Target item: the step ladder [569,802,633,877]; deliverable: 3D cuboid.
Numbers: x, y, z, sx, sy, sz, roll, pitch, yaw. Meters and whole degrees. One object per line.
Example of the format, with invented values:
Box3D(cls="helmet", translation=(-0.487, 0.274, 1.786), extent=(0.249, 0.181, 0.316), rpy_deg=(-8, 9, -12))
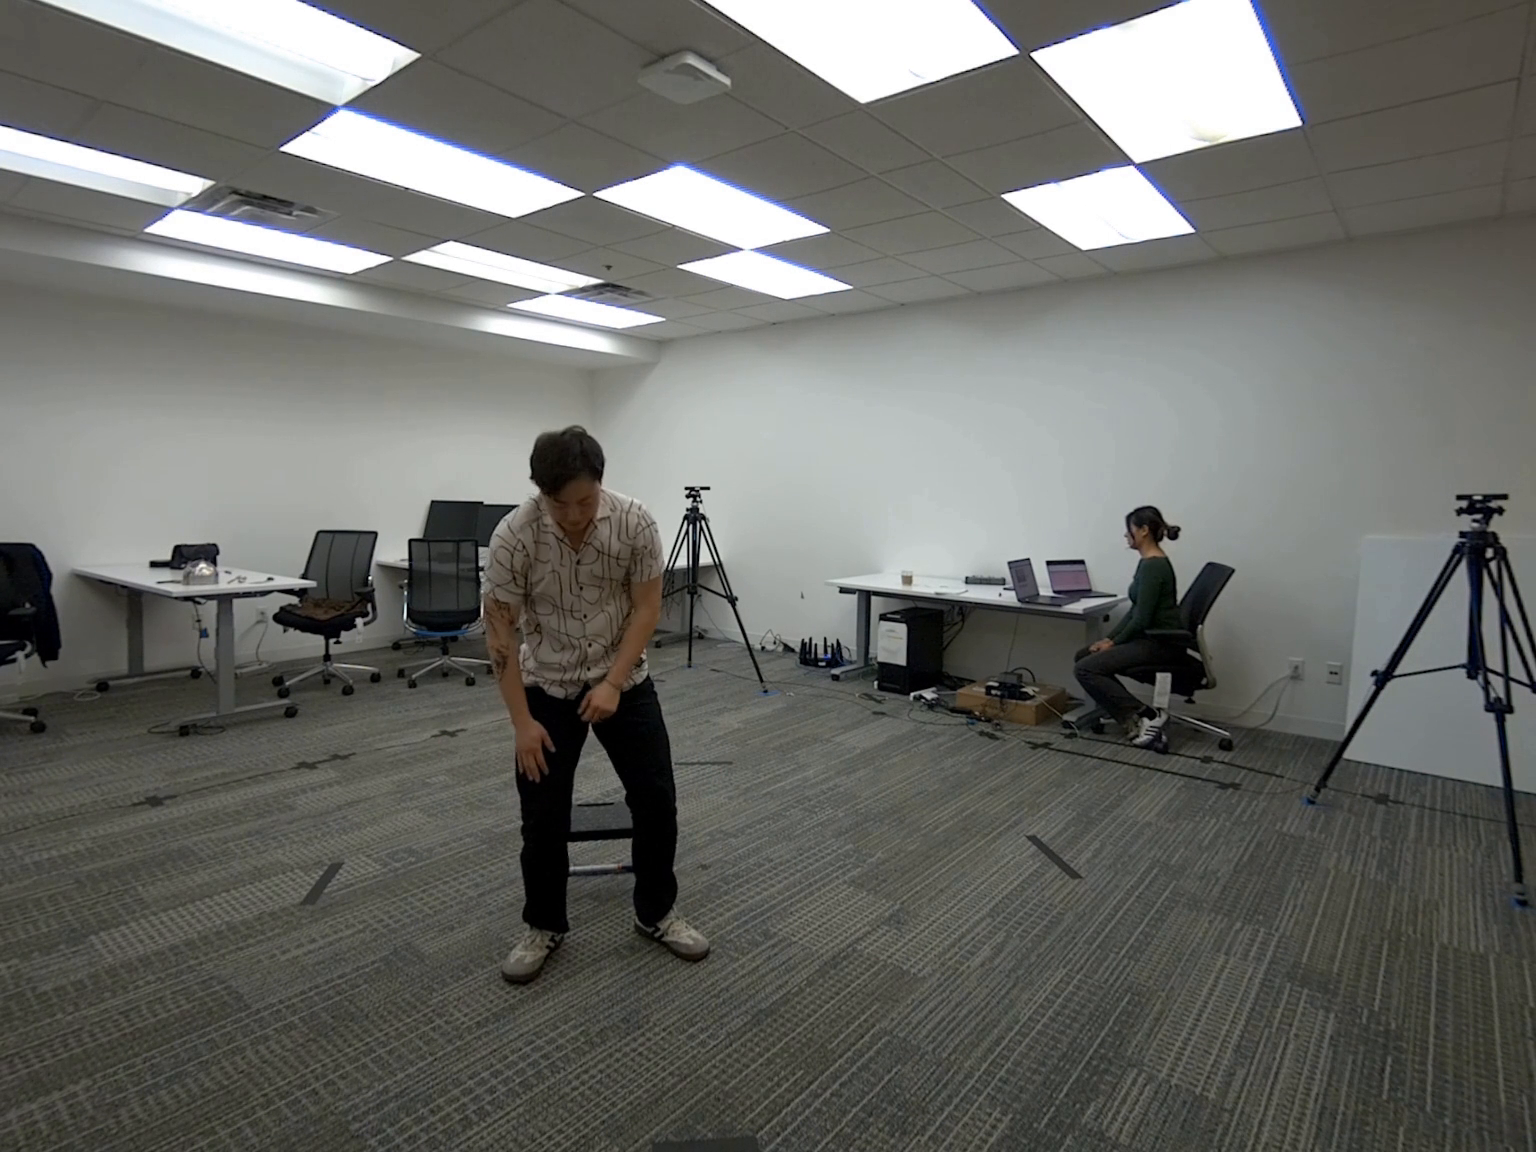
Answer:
Box3D(cls="step ladder", translation=(-0.576, 0.785, 2.893), extent=(0.425, 0.604, 0.355), rpy_deg=(0, 3, -12))
